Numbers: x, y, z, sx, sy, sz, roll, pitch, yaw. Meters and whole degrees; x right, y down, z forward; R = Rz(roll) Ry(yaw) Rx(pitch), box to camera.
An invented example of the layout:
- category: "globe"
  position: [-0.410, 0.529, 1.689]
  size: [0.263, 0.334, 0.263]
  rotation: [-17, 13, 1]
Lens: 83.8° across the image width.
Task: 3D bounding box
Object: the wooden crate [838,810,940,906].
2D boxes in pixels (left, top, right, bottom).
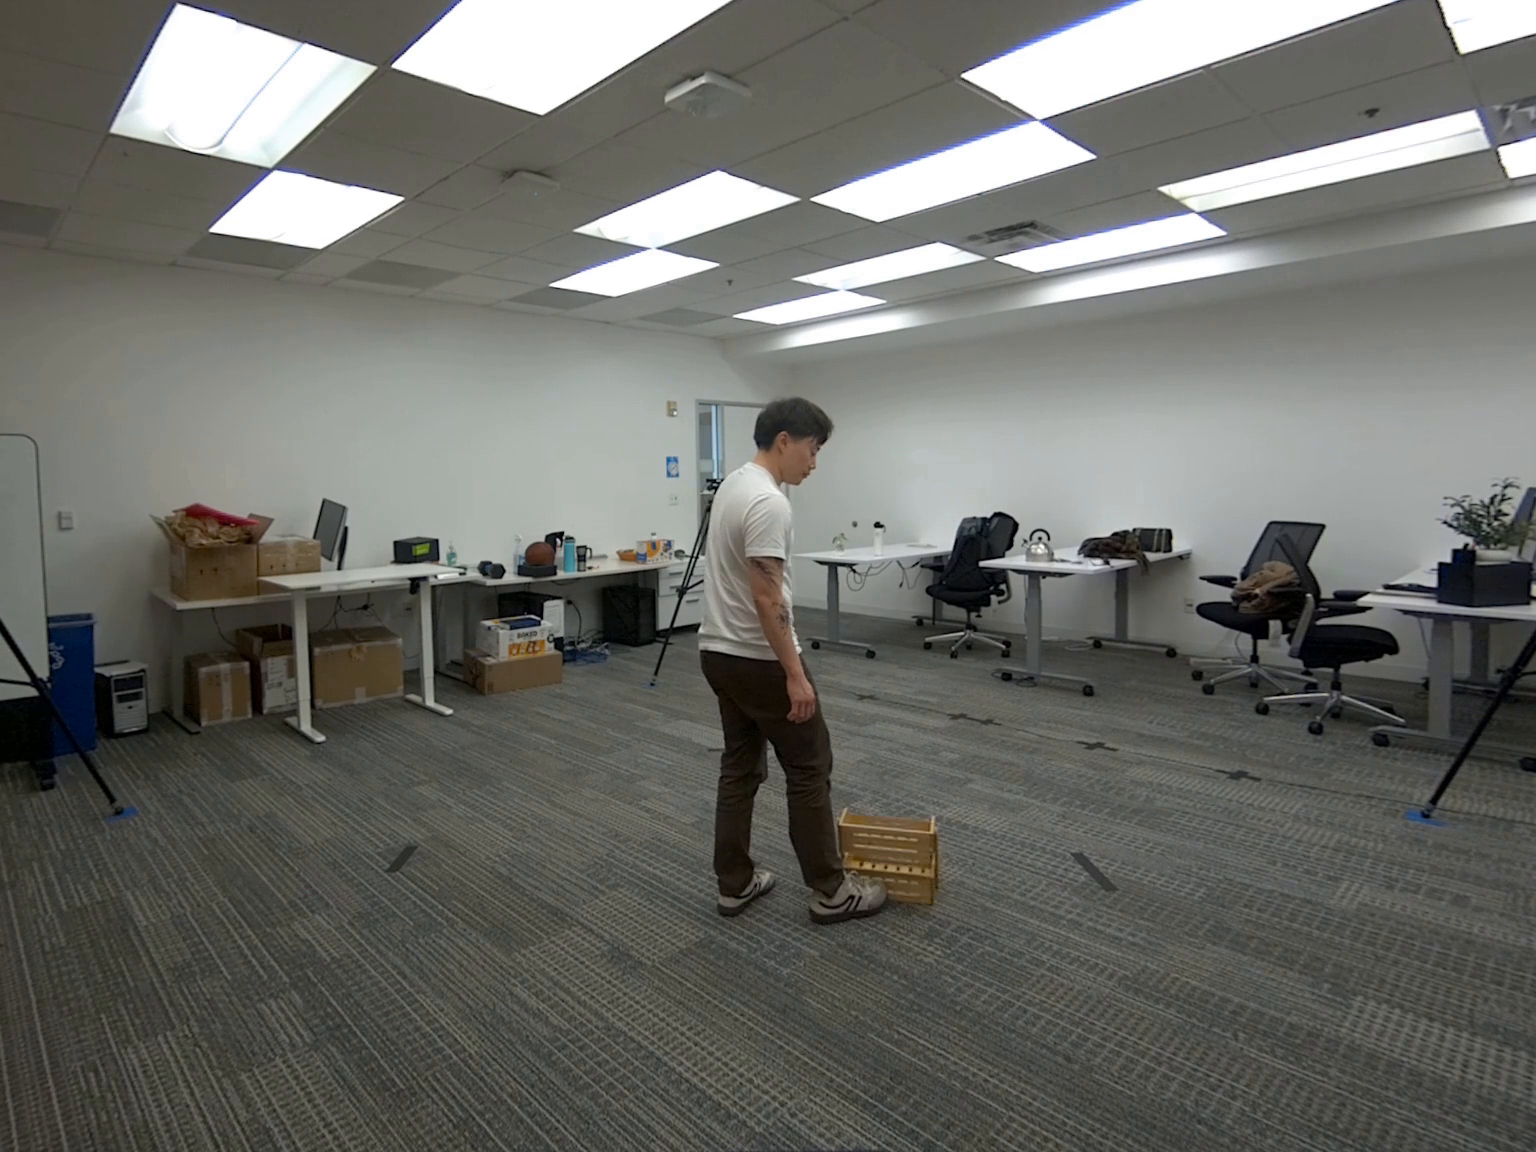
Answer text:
- category: "wooden crate"
  position: [0.410, 0.925, 2.907]
  size: [0.329, 0.272, 0.299]
  rotation: [1, 6, 14]
